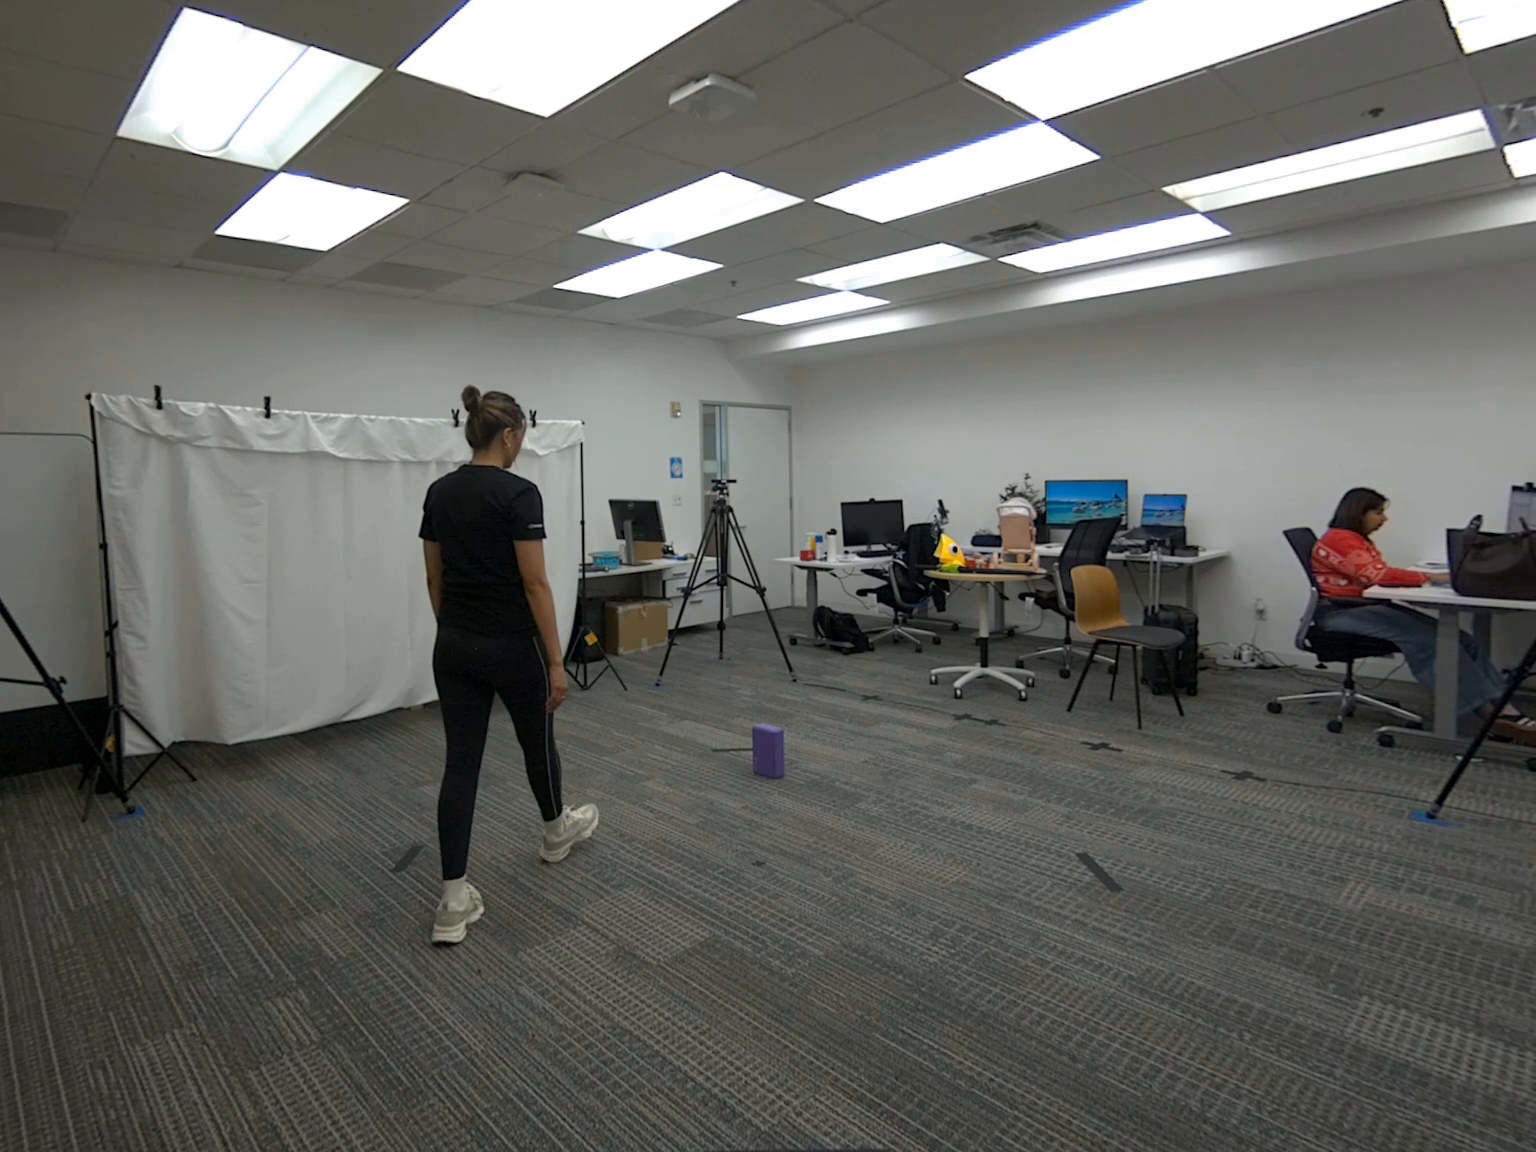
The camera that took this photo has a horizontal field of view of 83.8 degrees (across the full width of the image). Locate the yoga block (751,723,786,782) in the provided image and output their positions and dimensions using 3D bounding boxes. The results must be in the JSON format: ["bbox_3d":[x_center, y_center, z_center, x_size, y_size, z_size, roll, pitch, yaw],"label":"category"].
[{"bbox_3d":[0.002,0.827,4.049,0.153,0.228,0.074,4,7,43],"label":"yoga block"}]
